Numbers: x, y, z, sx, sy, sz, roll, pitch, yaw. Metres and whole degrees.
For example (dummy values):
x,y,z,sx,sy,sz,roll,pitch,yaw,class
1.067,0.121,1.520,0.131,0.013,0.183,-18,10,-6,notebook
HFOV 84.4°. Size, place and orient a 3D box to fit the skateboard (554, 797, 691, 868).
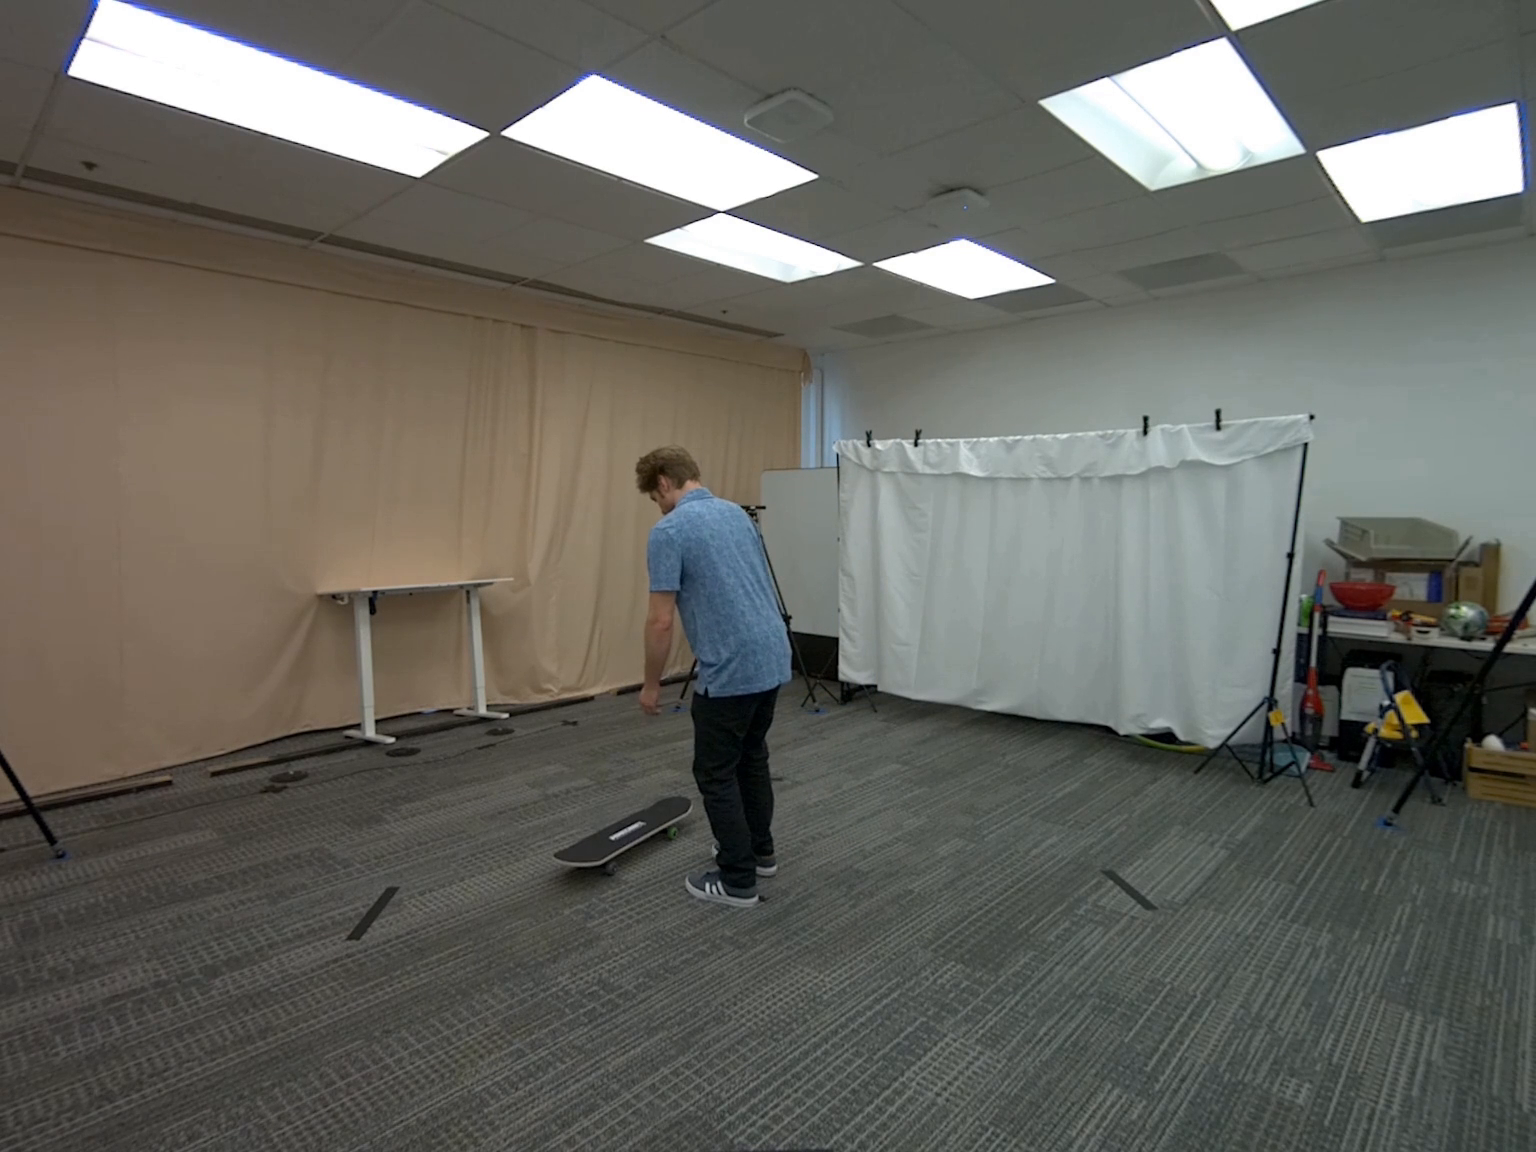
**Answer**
x,y,z,sx,sy,sz,roll,pitch,yaw,class
-0.567,1.060,3.395,0.199,0.110,0.765,2,5,30,skateboard
